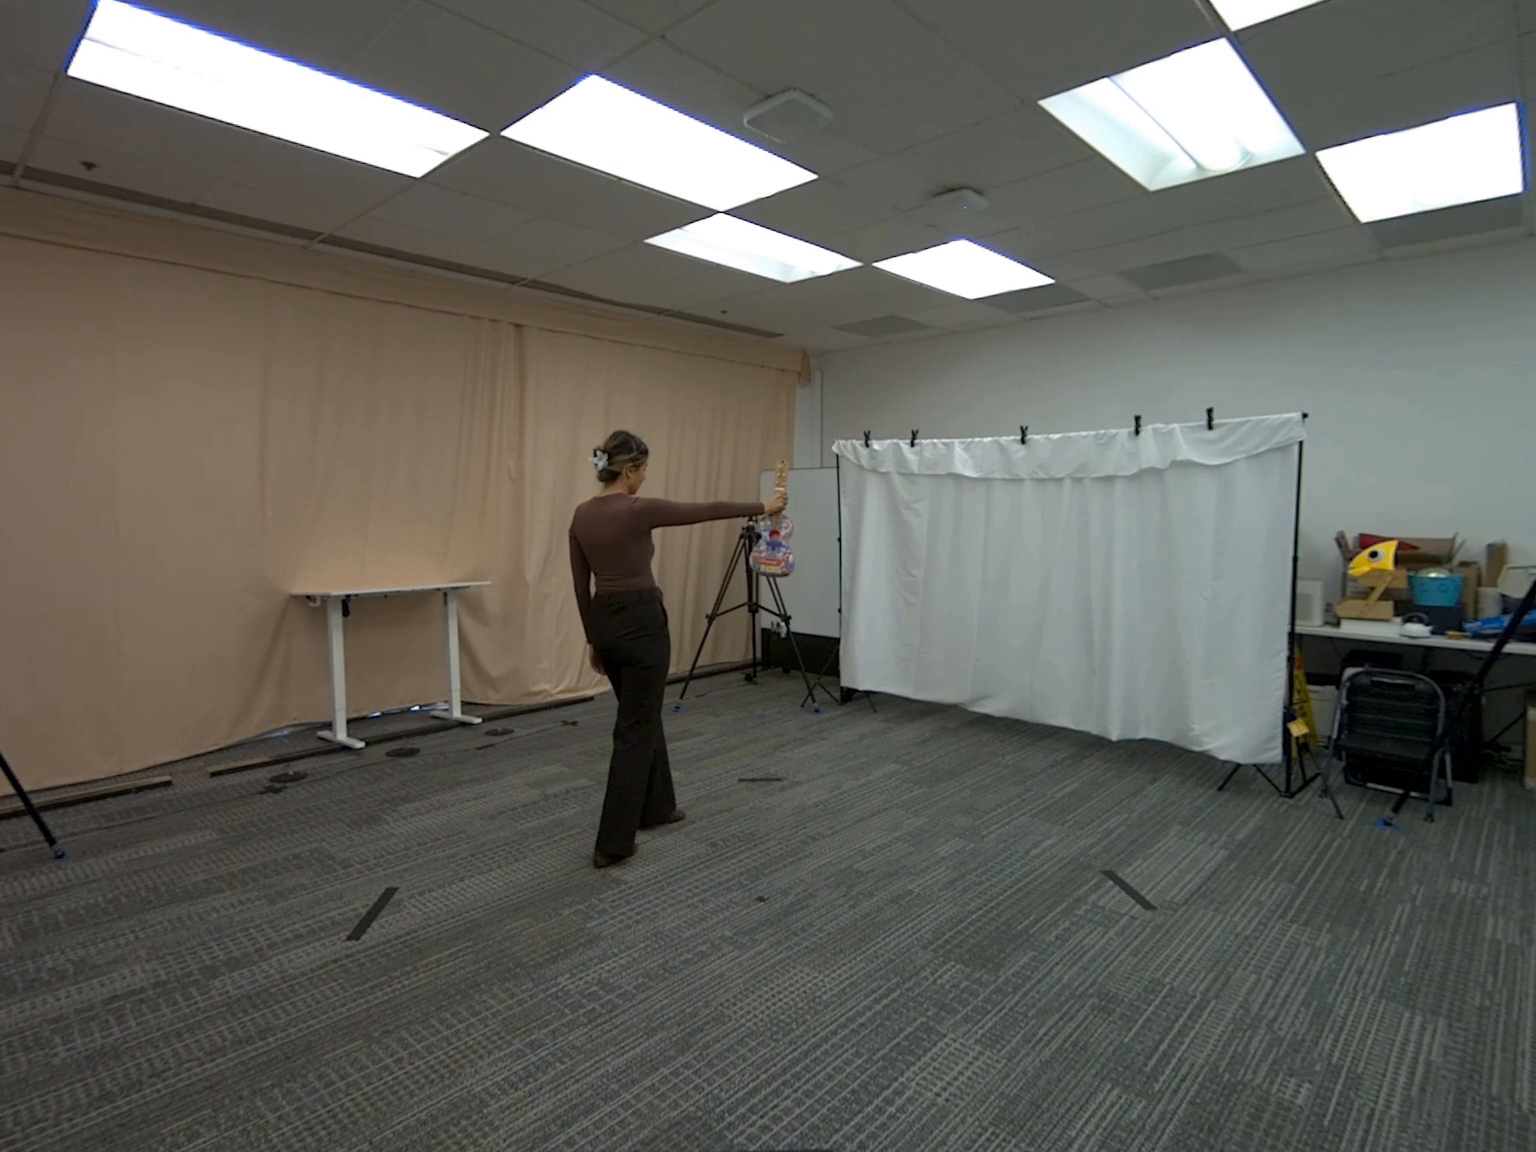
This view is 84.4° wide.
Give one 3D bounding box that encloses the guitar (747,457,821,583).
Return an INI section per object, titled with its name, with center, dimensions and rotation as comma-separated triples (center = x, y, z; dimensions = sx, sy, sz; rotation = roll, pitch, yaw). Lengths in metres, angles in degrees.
[guitar]
center = 0.068, -0.243, 3.612
dimensions = 0.195, 0.499, 0.070
rotation = 14, -7, 8
